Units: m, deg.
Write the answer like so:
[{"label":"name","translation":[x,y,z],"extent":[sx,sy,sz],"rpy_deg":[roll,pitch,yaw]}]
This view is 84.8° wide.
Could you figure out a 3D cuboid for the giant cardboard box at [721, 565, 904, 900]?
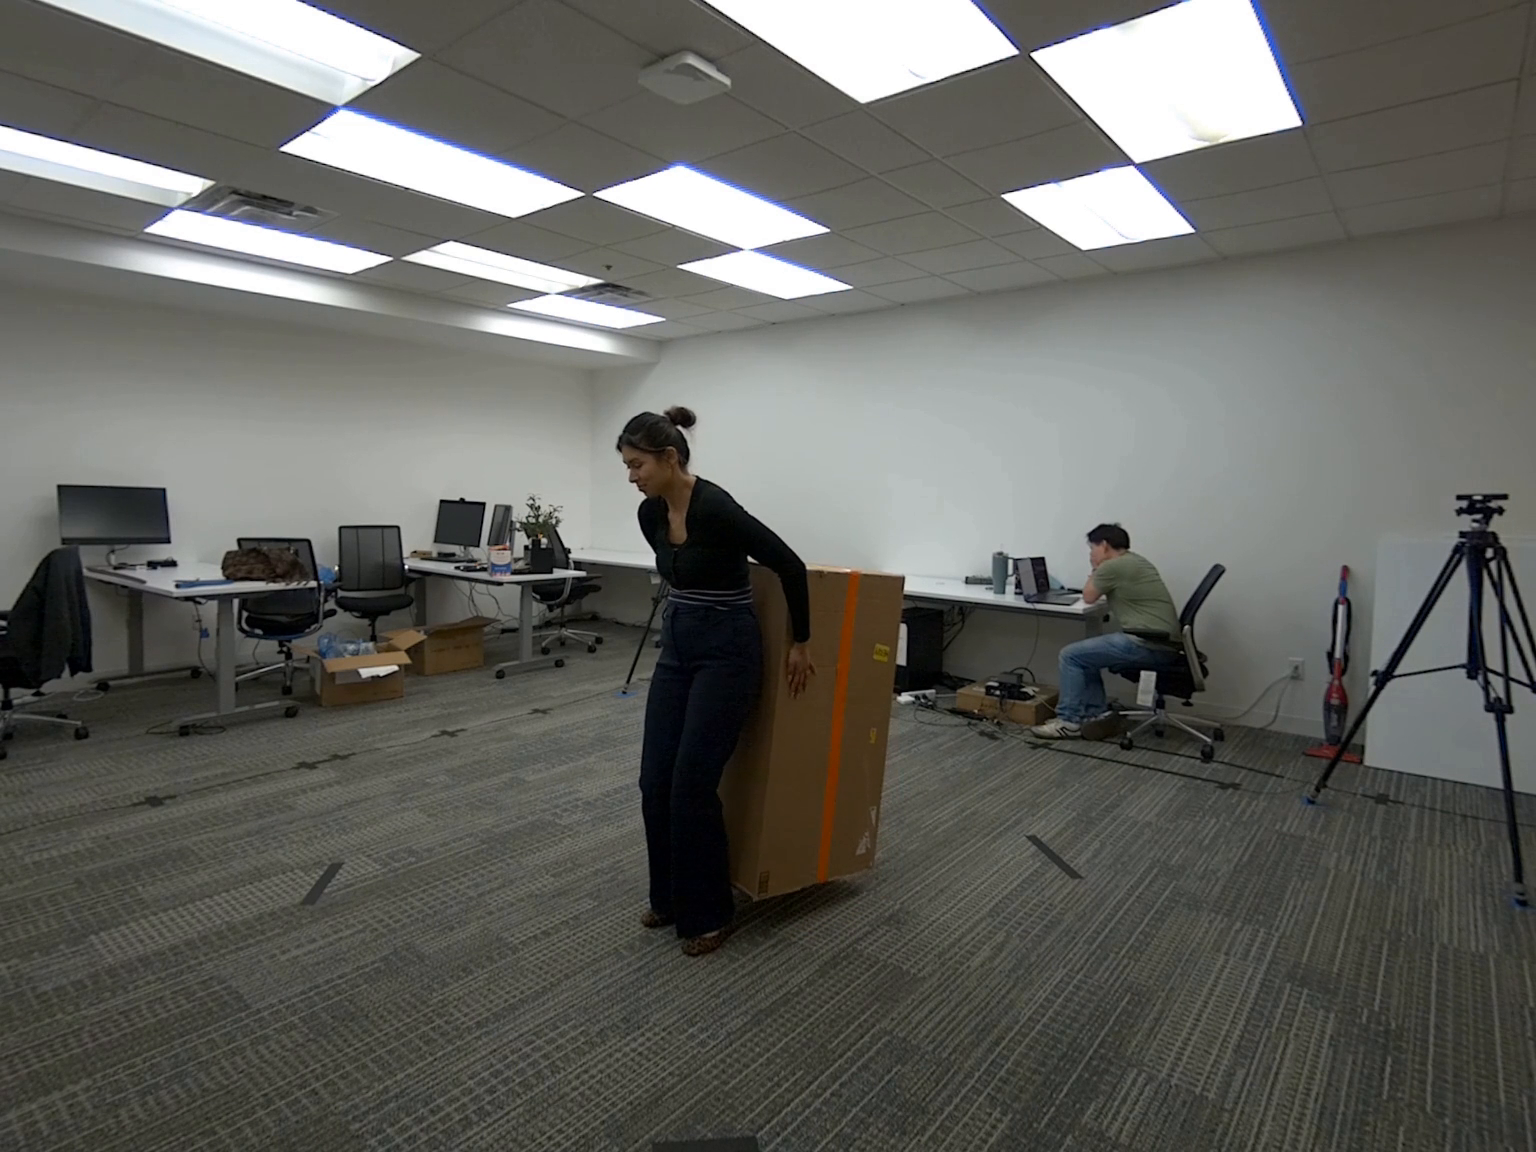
[{"label":"giant cardboard box","translation":[0.077,0.475,2.936],"extent":[0.558,1.026,0.441],"rpy_deg":[6,0,-42]}]
